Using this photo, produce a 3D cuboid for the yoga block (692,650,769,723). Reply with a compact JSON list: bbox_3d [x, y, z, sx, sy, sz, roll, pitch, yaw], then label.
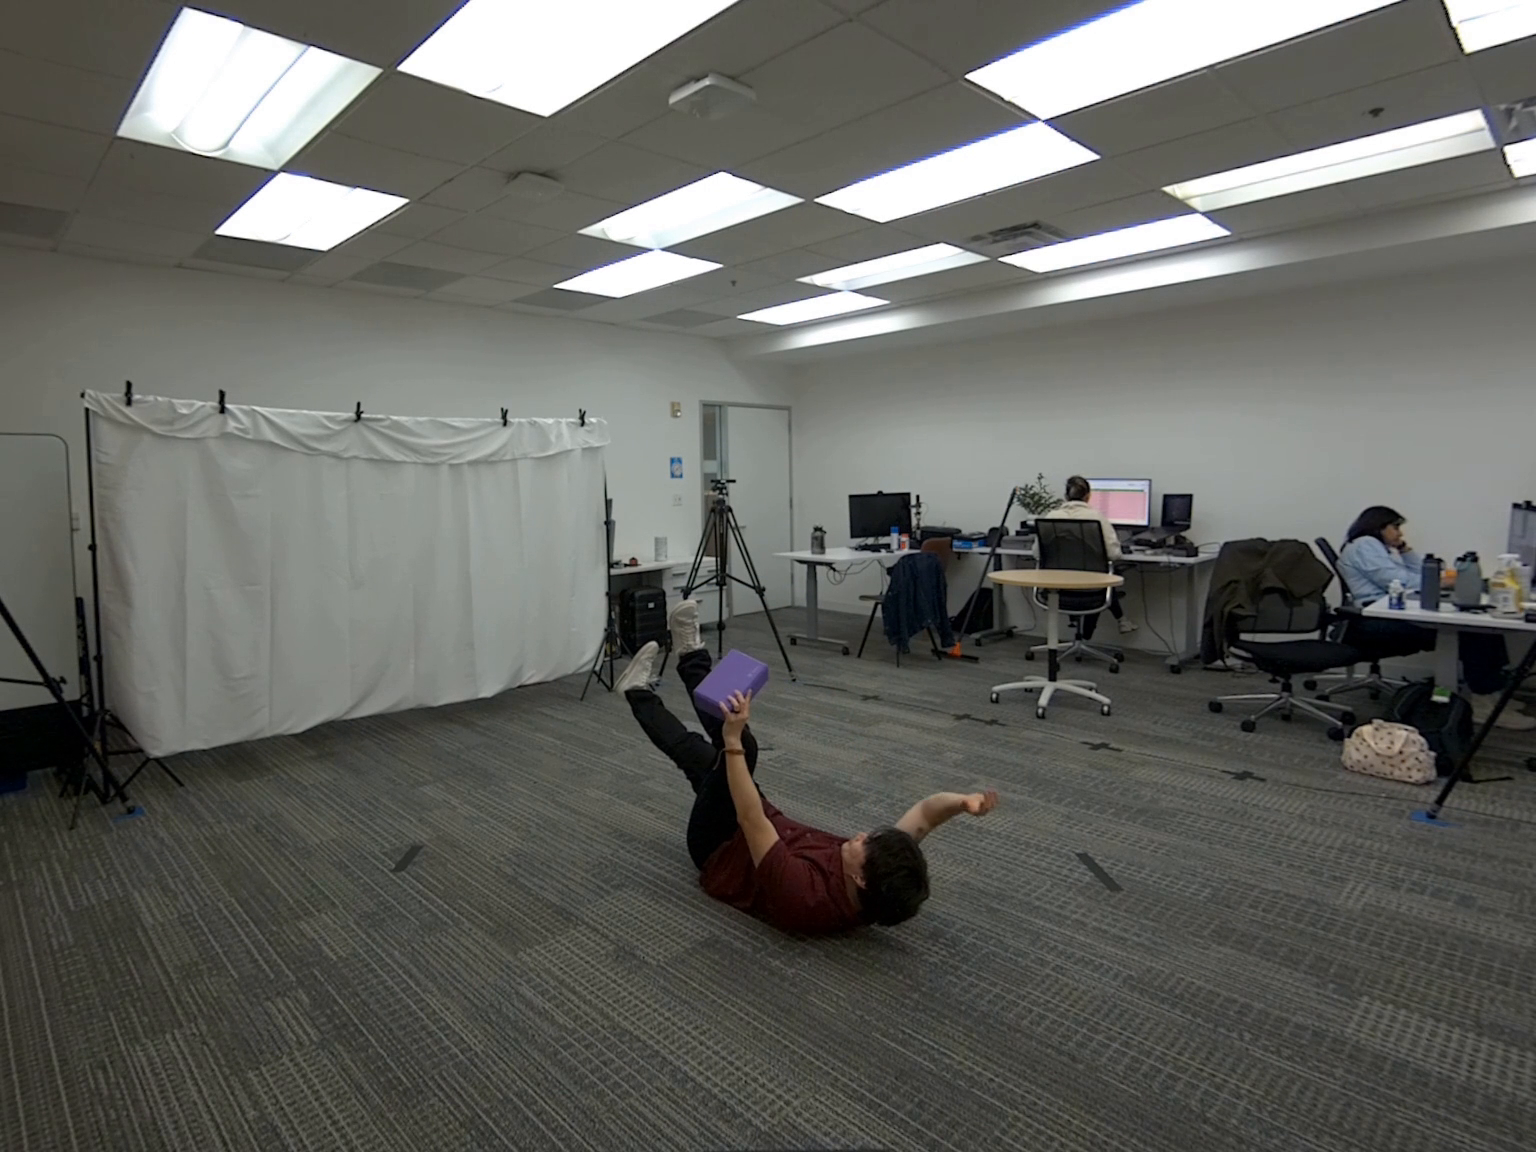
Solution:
[{"bbox_3d":[-0.115,0.358,2.777,0.153,0.074,0.229,19,45,25],"label":"yoga block"}]
